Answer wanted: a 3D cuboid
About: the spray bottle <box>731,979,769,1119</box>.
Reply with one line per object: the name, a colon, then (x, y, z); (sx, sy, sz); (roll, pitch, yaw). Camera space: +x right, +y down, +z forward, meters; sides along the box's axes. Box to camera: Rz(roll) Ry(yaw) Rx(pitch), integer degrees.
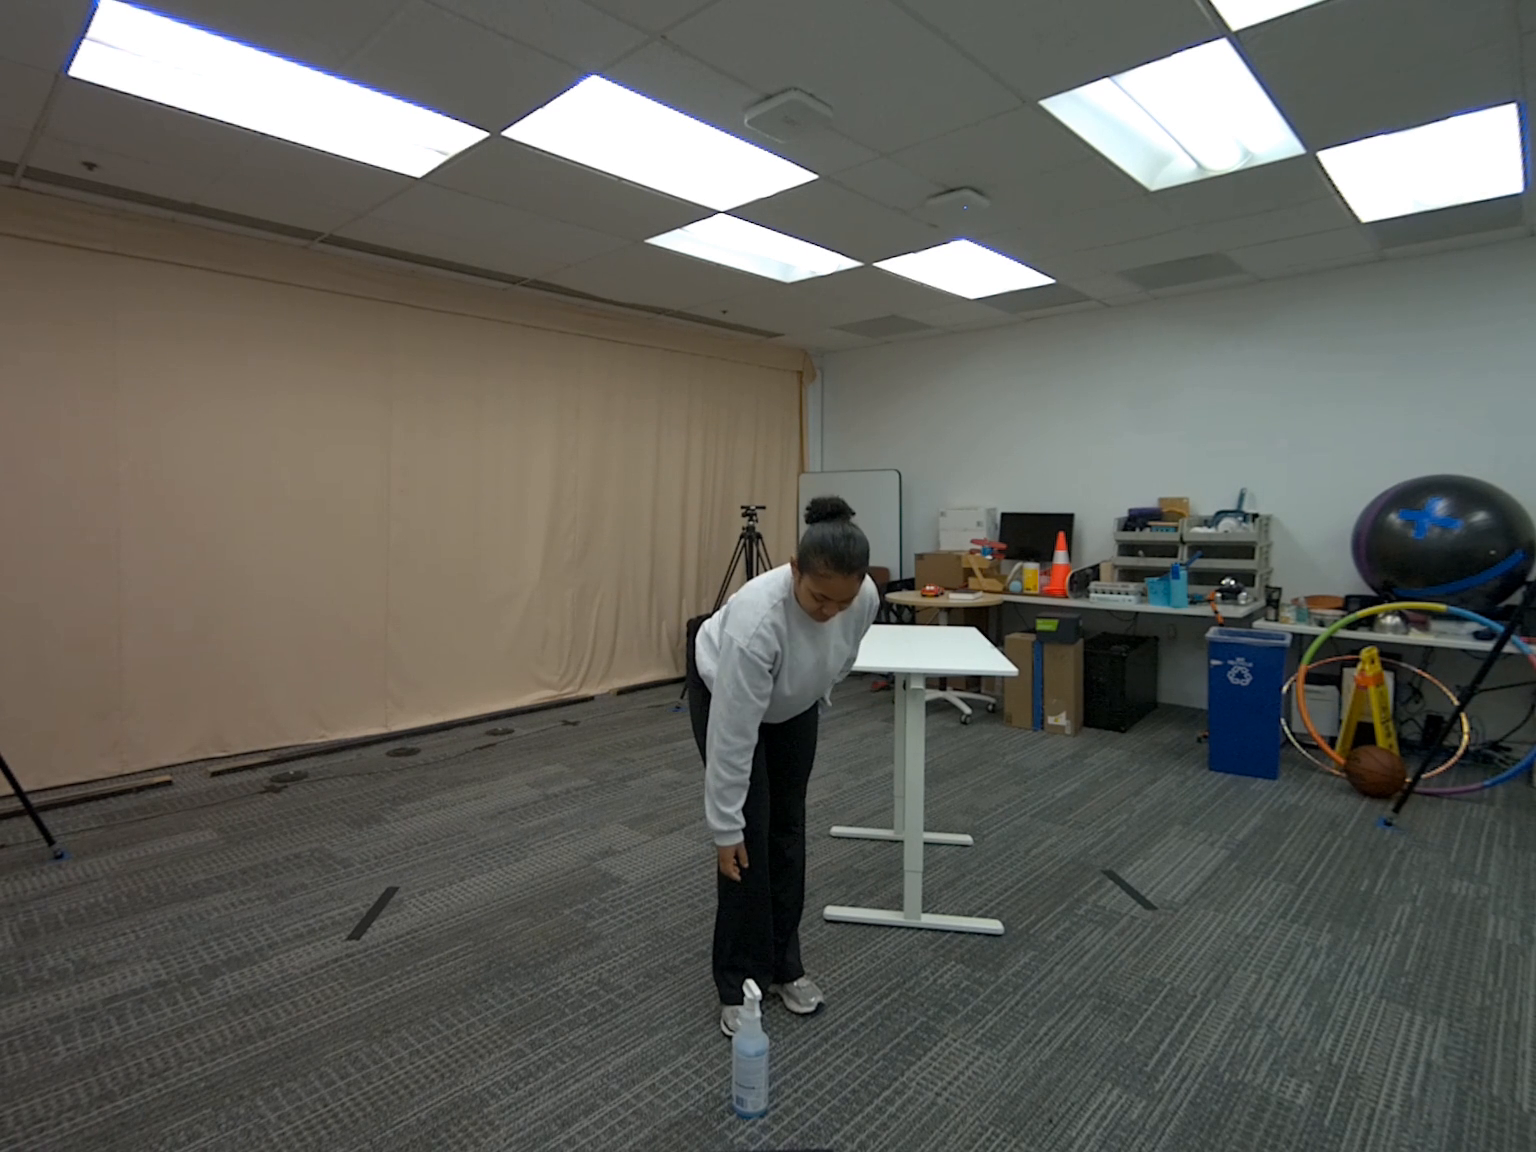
spray bottle: (-0.037, 1.082, 1.947); (0.088, 0.296, 0.089); (2, 4, 9)
